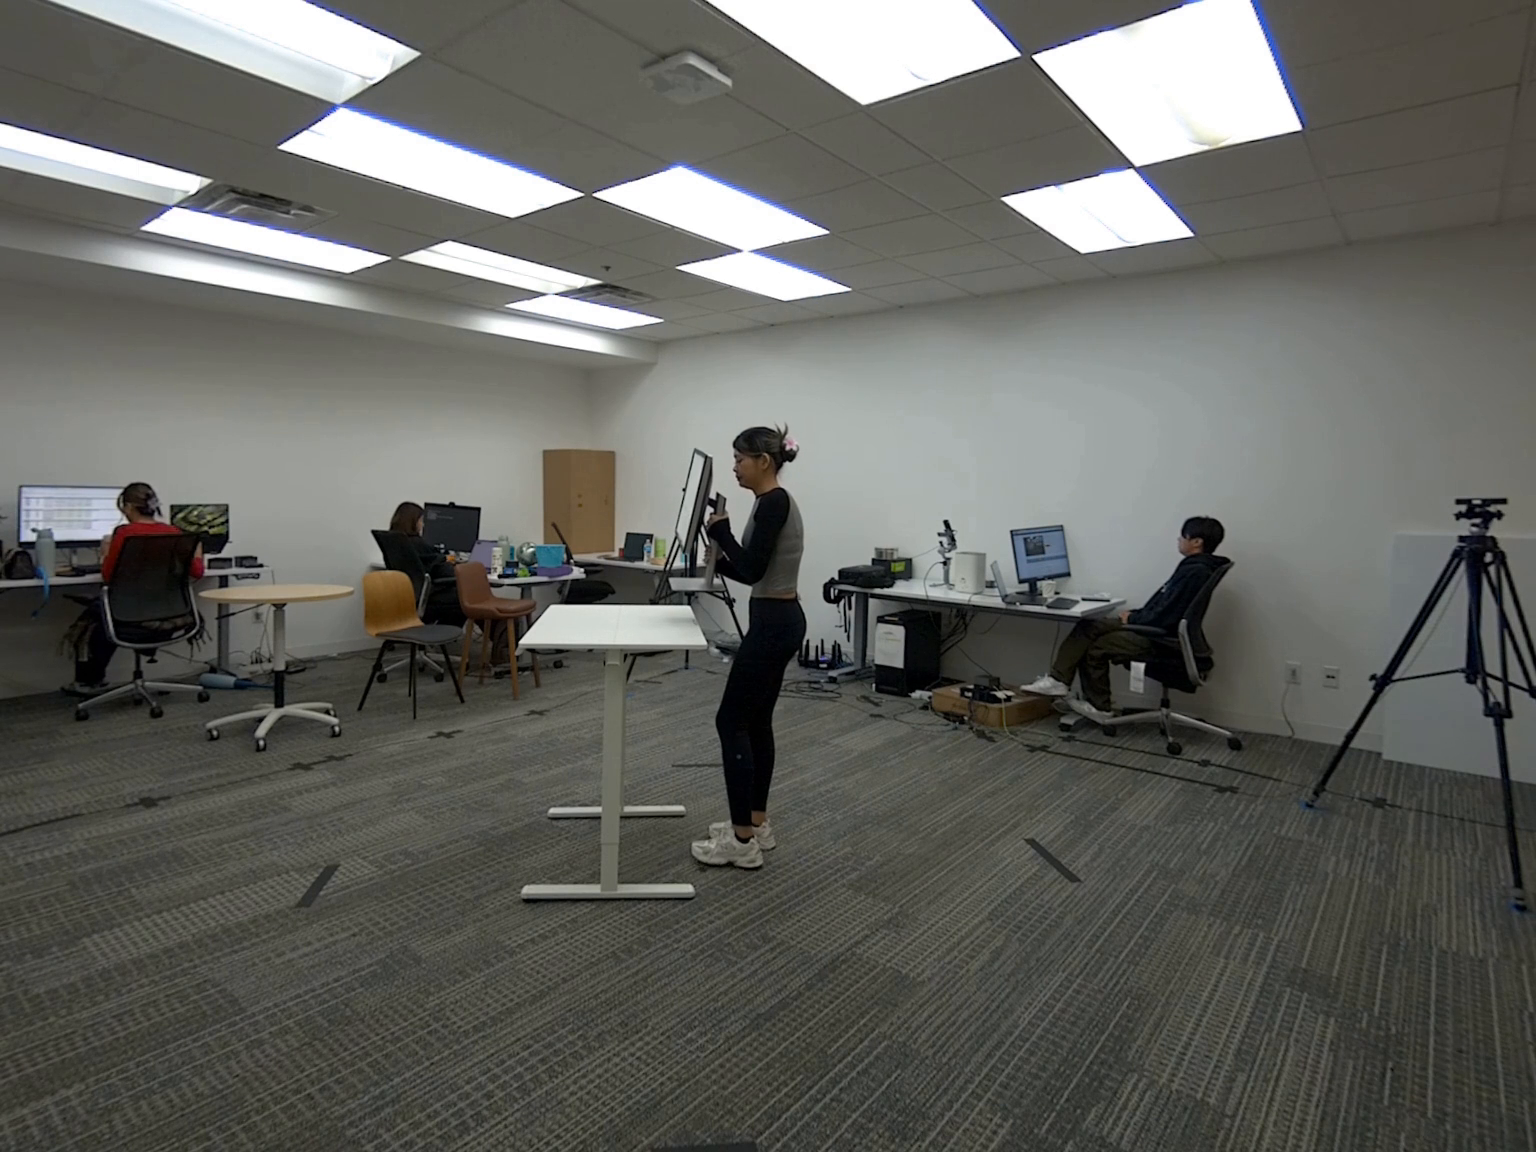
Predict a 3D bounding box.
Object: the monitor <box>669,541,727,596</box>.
[{"bbox_3d":[-0.274,-0.223,3.283,0.185,0.519,0.548,0,9,-10],"label":"monitor"}]
